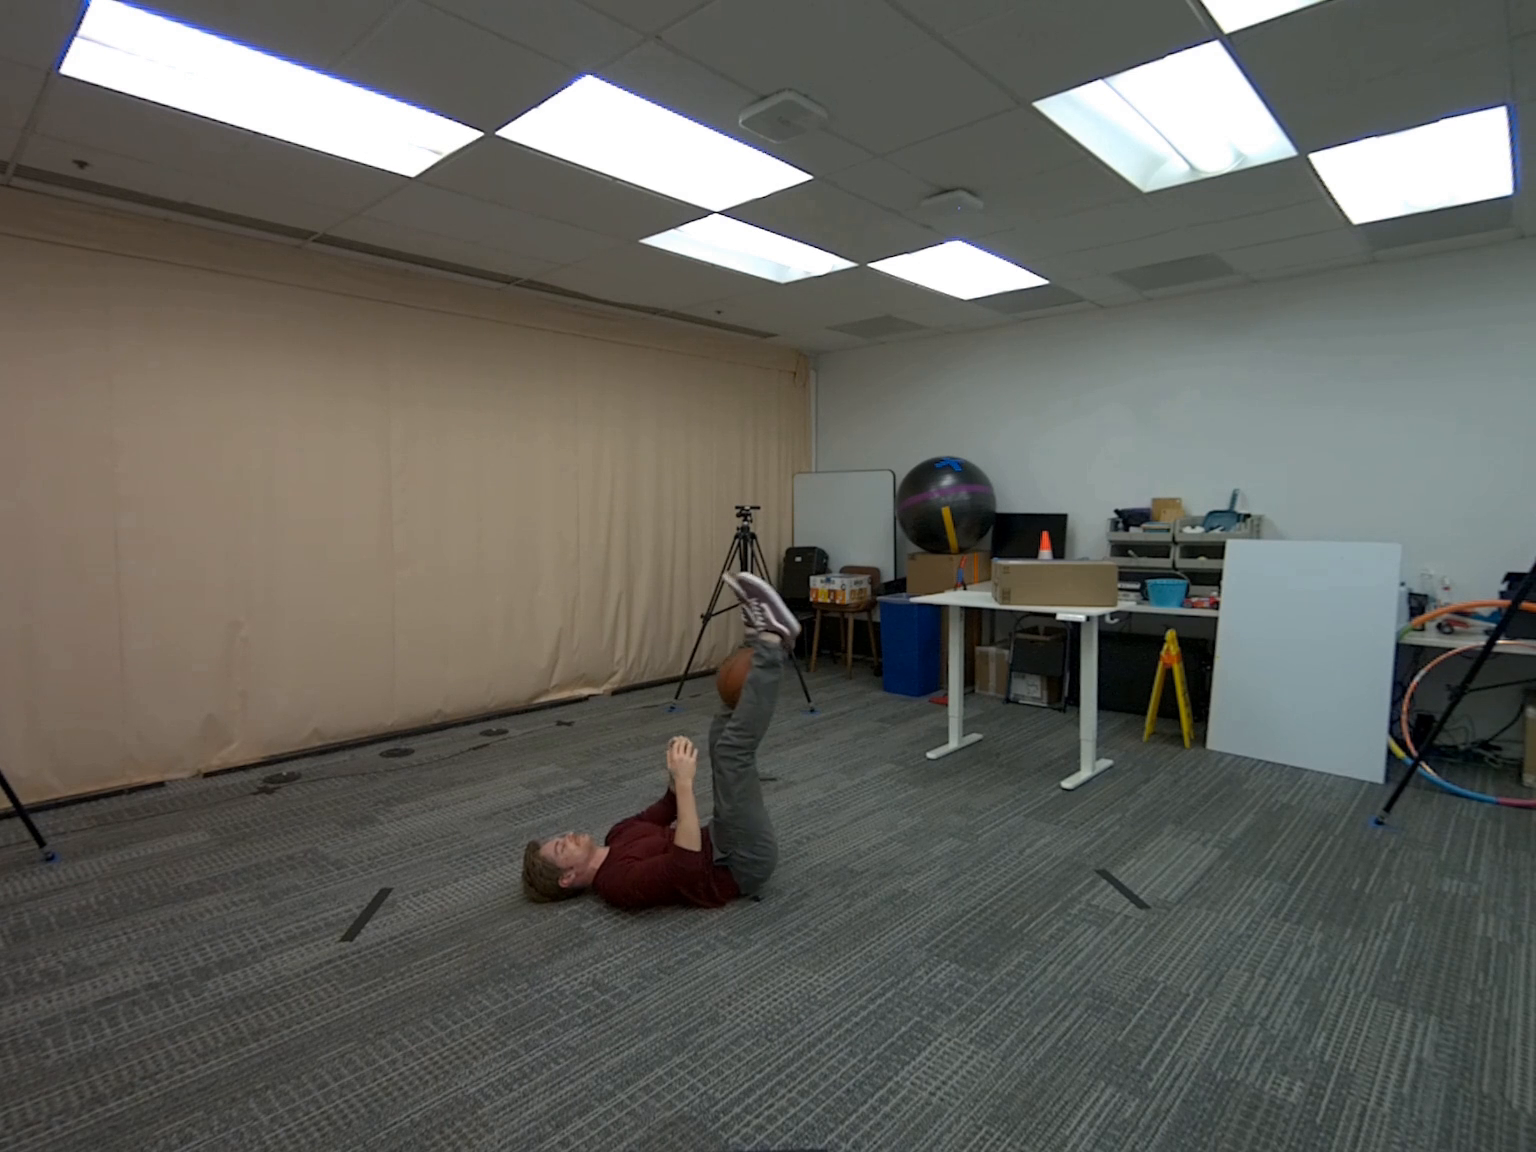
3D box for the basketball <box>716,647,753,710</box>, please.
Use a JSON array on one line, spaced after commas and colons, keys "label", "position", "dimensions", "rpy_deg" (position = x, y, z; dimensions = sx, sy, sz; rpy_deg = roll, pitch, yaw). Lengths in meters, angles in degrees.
[{"label": "basketball", "position": [-0.054, 0.386, 3.051], "dimensions": [0.236, 0.235, 0.237], "rpy_deg": [0, 4, -2]}]
